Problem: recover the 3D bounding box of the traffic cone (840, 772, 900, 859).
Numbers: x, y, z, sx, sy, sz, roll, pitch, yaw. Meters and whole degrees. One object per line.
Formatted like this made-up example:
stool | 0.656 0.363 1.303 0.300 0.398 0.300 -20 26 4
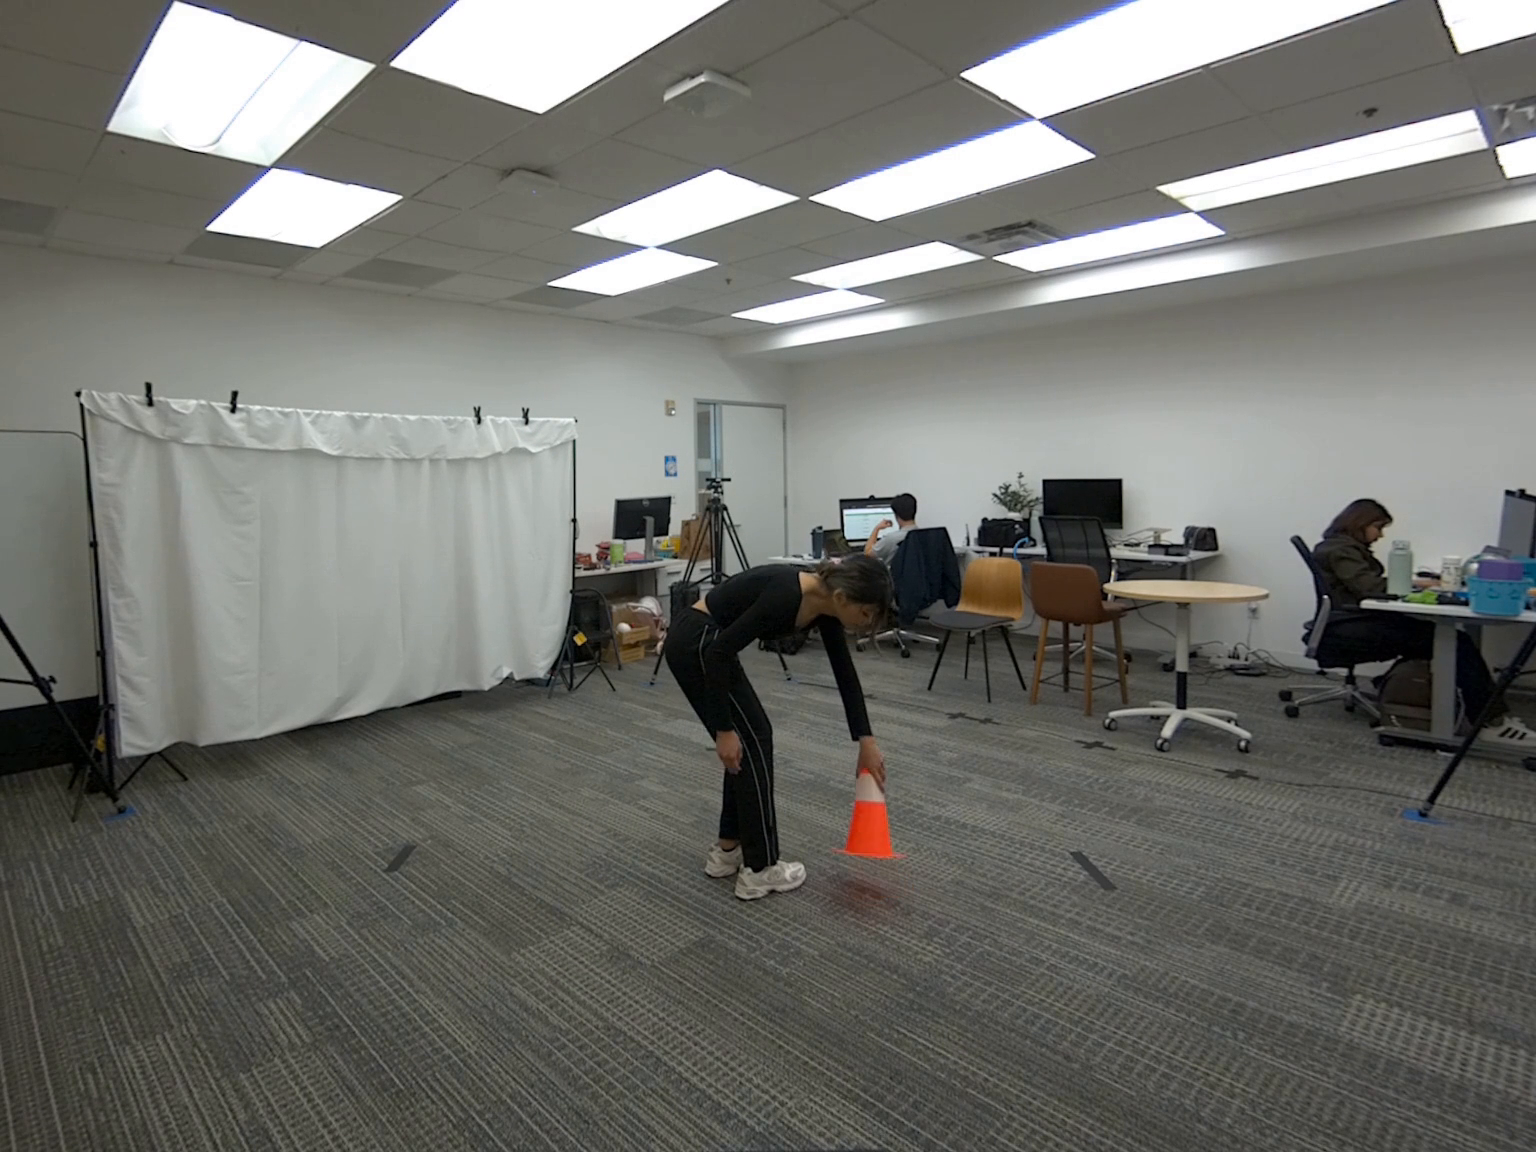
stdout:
traffic cone | 0.340 0.736 2.914 0.210 0.387 0.196 -8 -14 38
